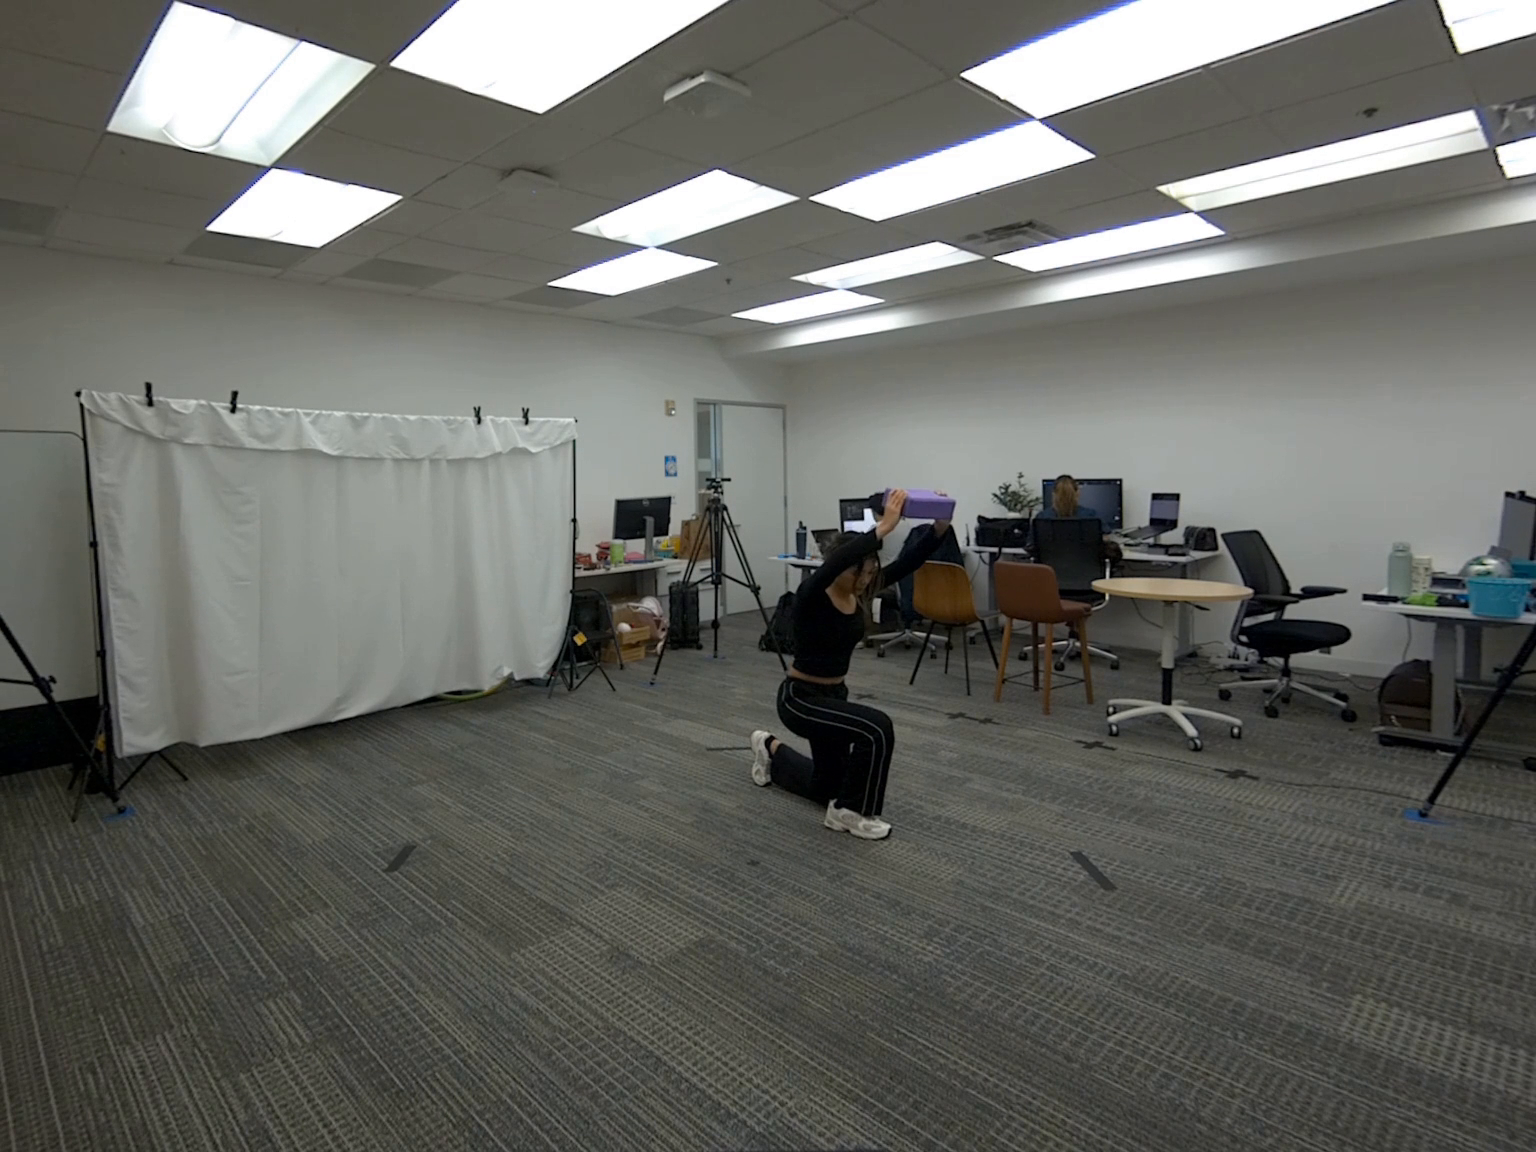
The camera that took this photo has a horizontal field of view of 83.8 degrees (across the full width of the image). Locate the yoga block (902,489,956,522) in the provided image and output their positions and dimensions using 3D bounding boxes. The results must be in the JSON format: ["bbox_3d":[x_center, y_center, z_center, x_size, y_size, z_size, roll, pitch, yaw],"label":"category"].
[{"bbox_3d":[0.555,-0.264,3.091,0.223,0.075,0.154,0,20,-32],"label":"yoga block"}]
